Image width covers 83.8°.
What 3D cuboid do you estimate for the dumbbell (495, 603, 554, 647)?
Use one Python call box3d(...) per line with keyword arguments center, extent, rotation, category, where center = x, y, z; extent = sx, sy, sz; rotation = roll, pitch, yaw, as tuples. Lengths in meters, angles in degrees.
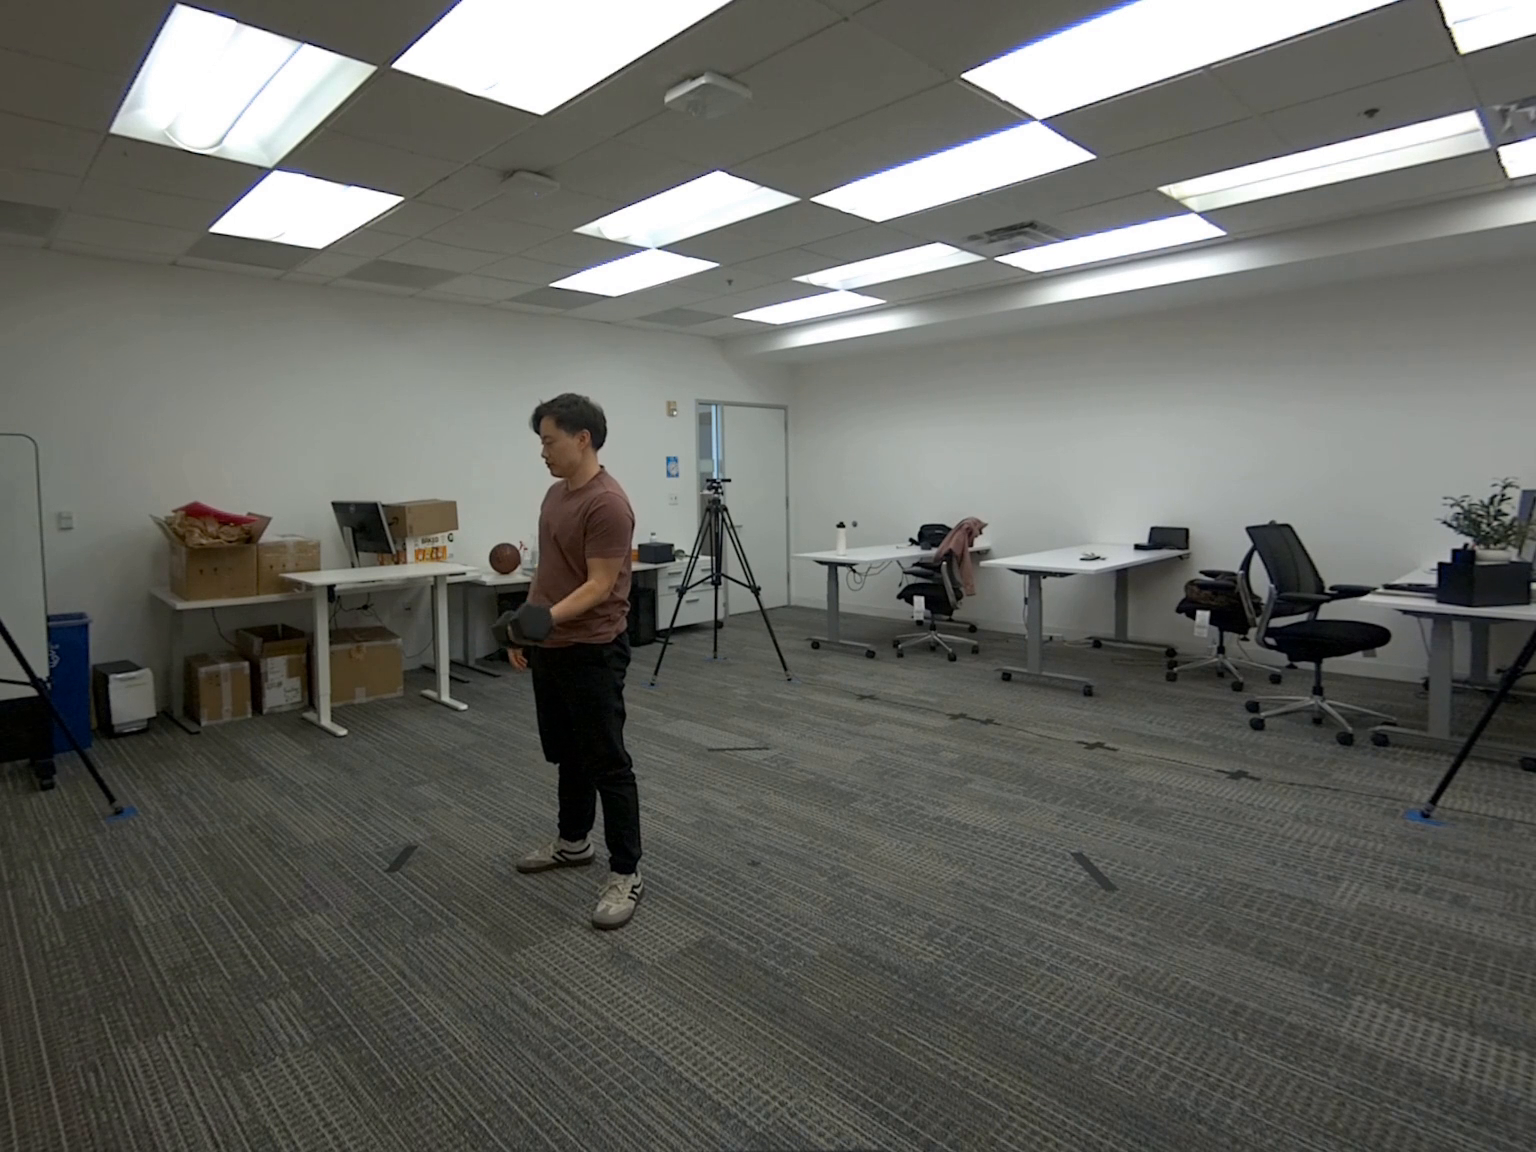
box3d(center=(-0.728, 0.144, 2.514), extent=(0.106, 0.123, 0.298), rotation=(42, -27, -16), category="dumbbell")
